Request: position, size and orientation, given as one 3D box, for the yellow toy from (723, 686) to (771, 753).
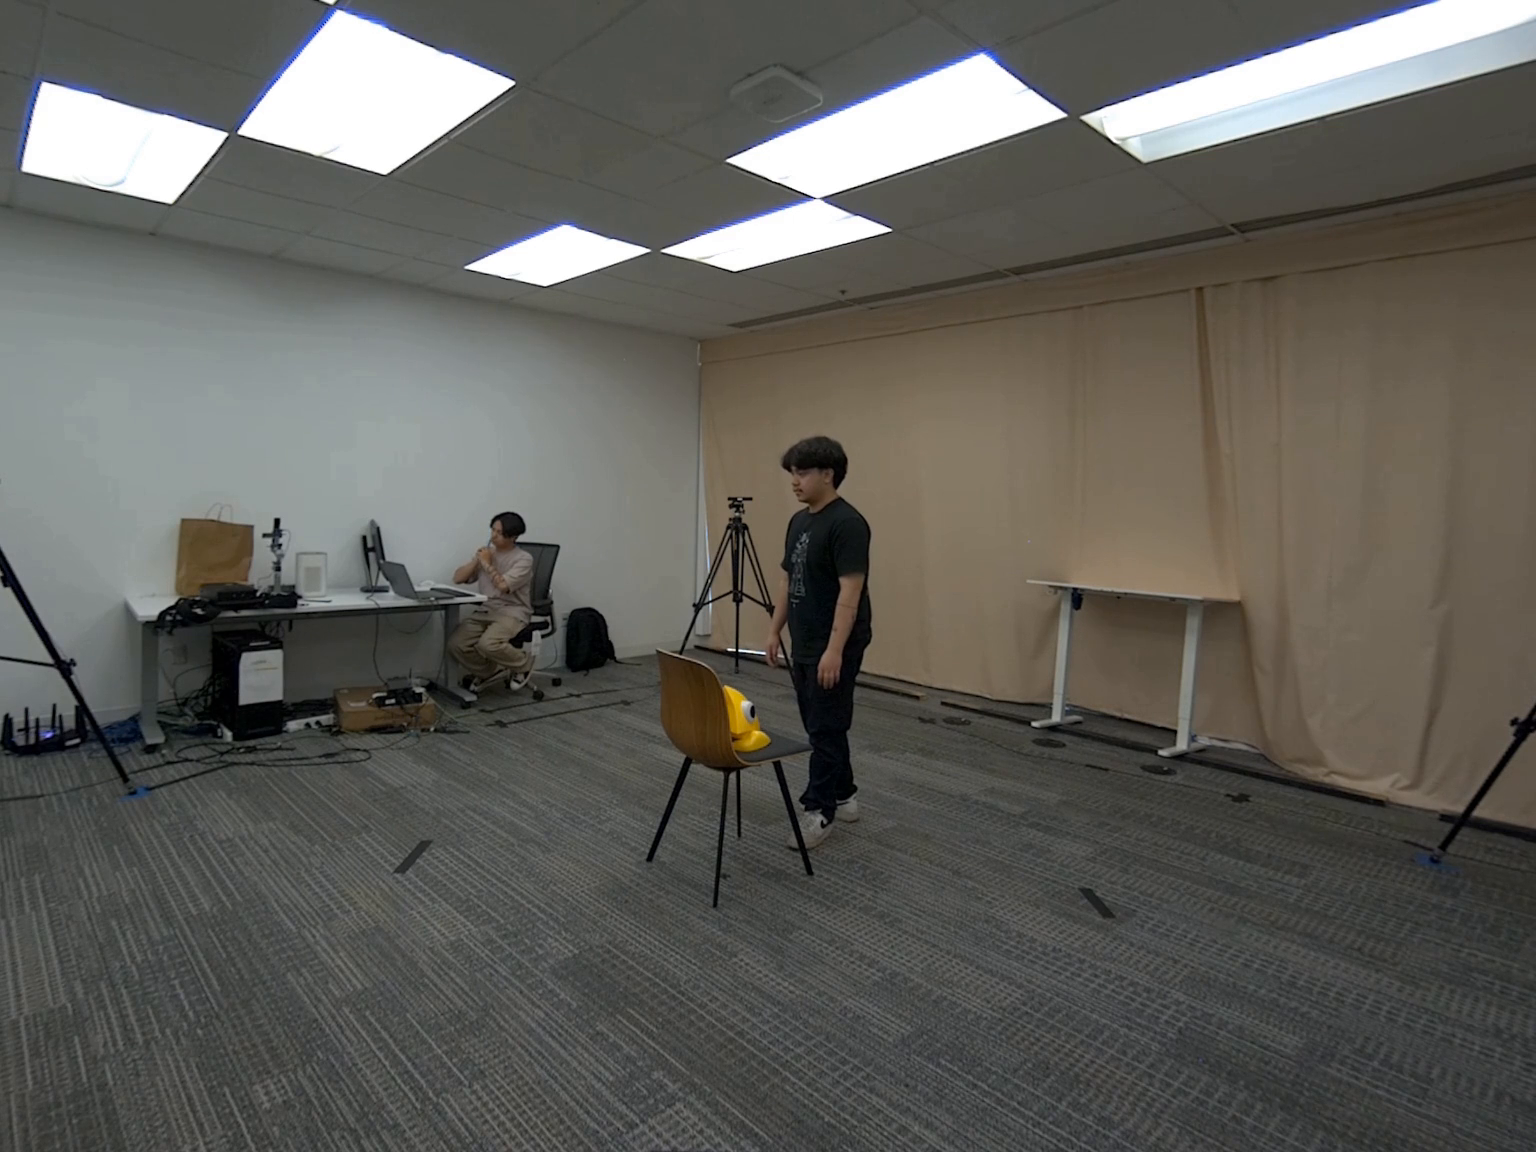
[{"bbox_3d":[-0.115,0.513,3.141,0.189,0.230,0.210,-8,8,-38],"label":"yellow toy"}]
